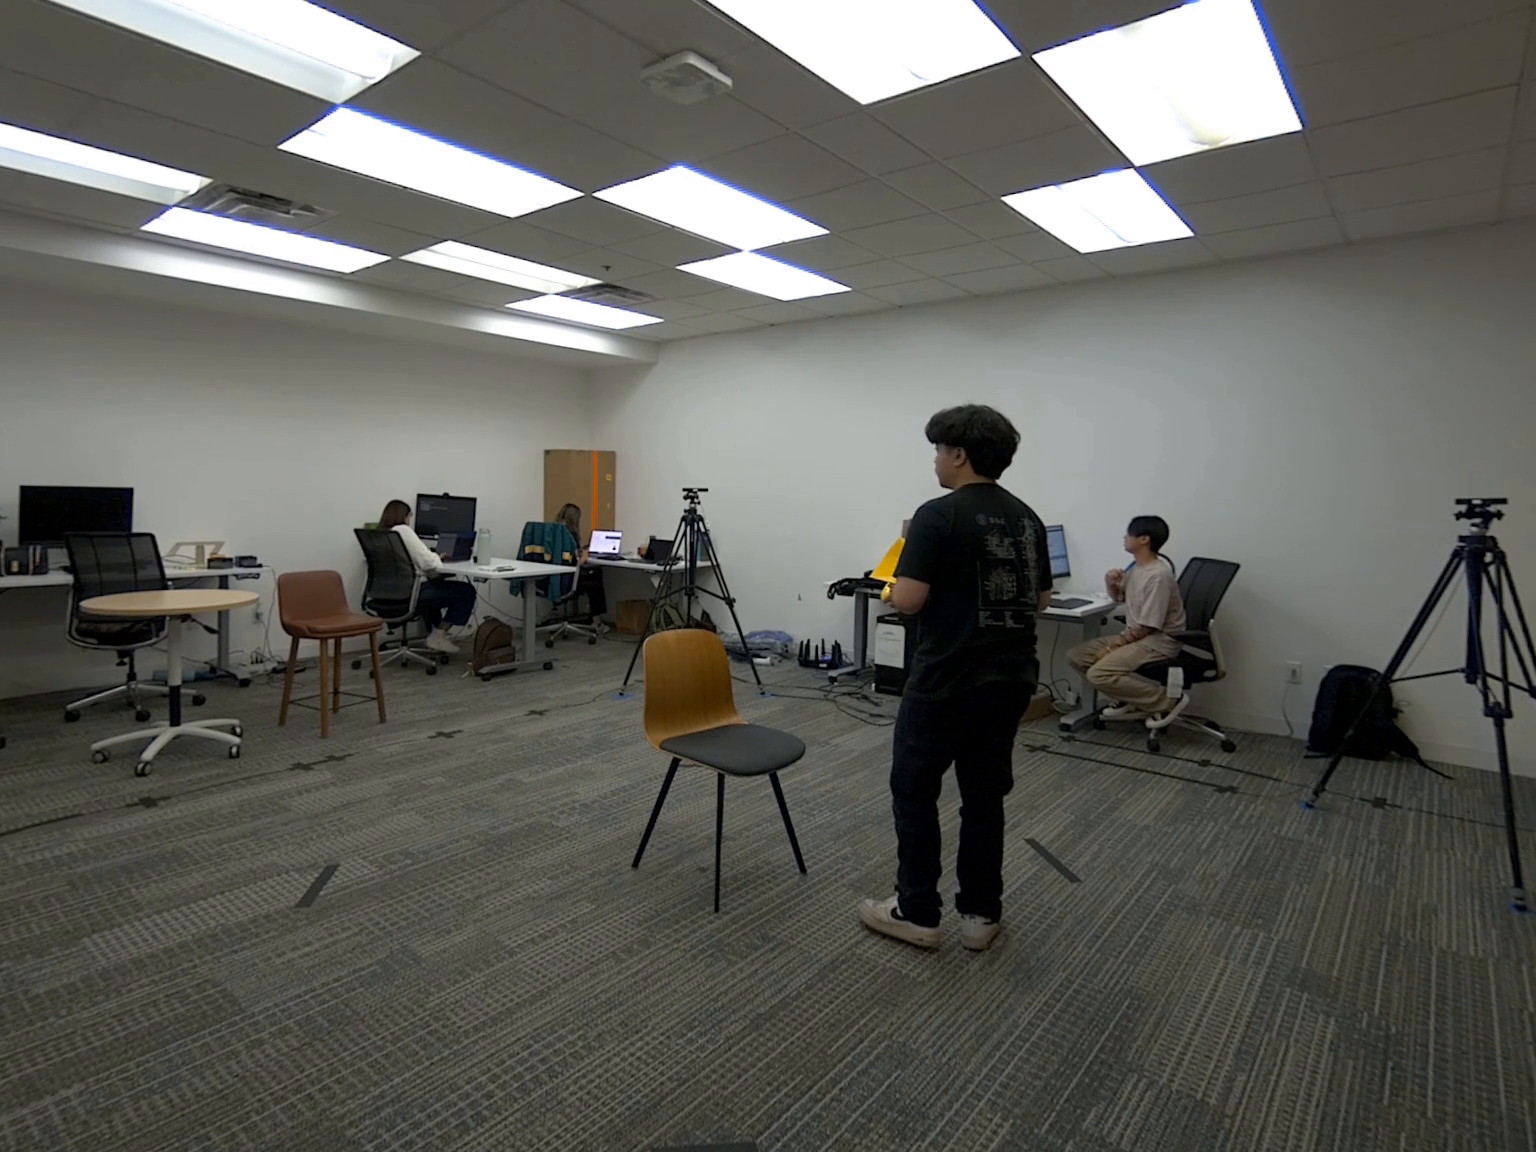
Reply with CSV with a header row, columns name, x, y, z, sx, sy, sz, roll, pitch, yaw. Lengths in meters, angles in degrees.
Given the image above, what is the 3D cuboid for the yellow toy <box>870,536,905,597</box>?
name,x,y,z,sx,sy,sz,roll,pitch,yaw
yellow toy,0.479,-0.033,2.893,0.188,0.228,0.212,-12,15,-40
